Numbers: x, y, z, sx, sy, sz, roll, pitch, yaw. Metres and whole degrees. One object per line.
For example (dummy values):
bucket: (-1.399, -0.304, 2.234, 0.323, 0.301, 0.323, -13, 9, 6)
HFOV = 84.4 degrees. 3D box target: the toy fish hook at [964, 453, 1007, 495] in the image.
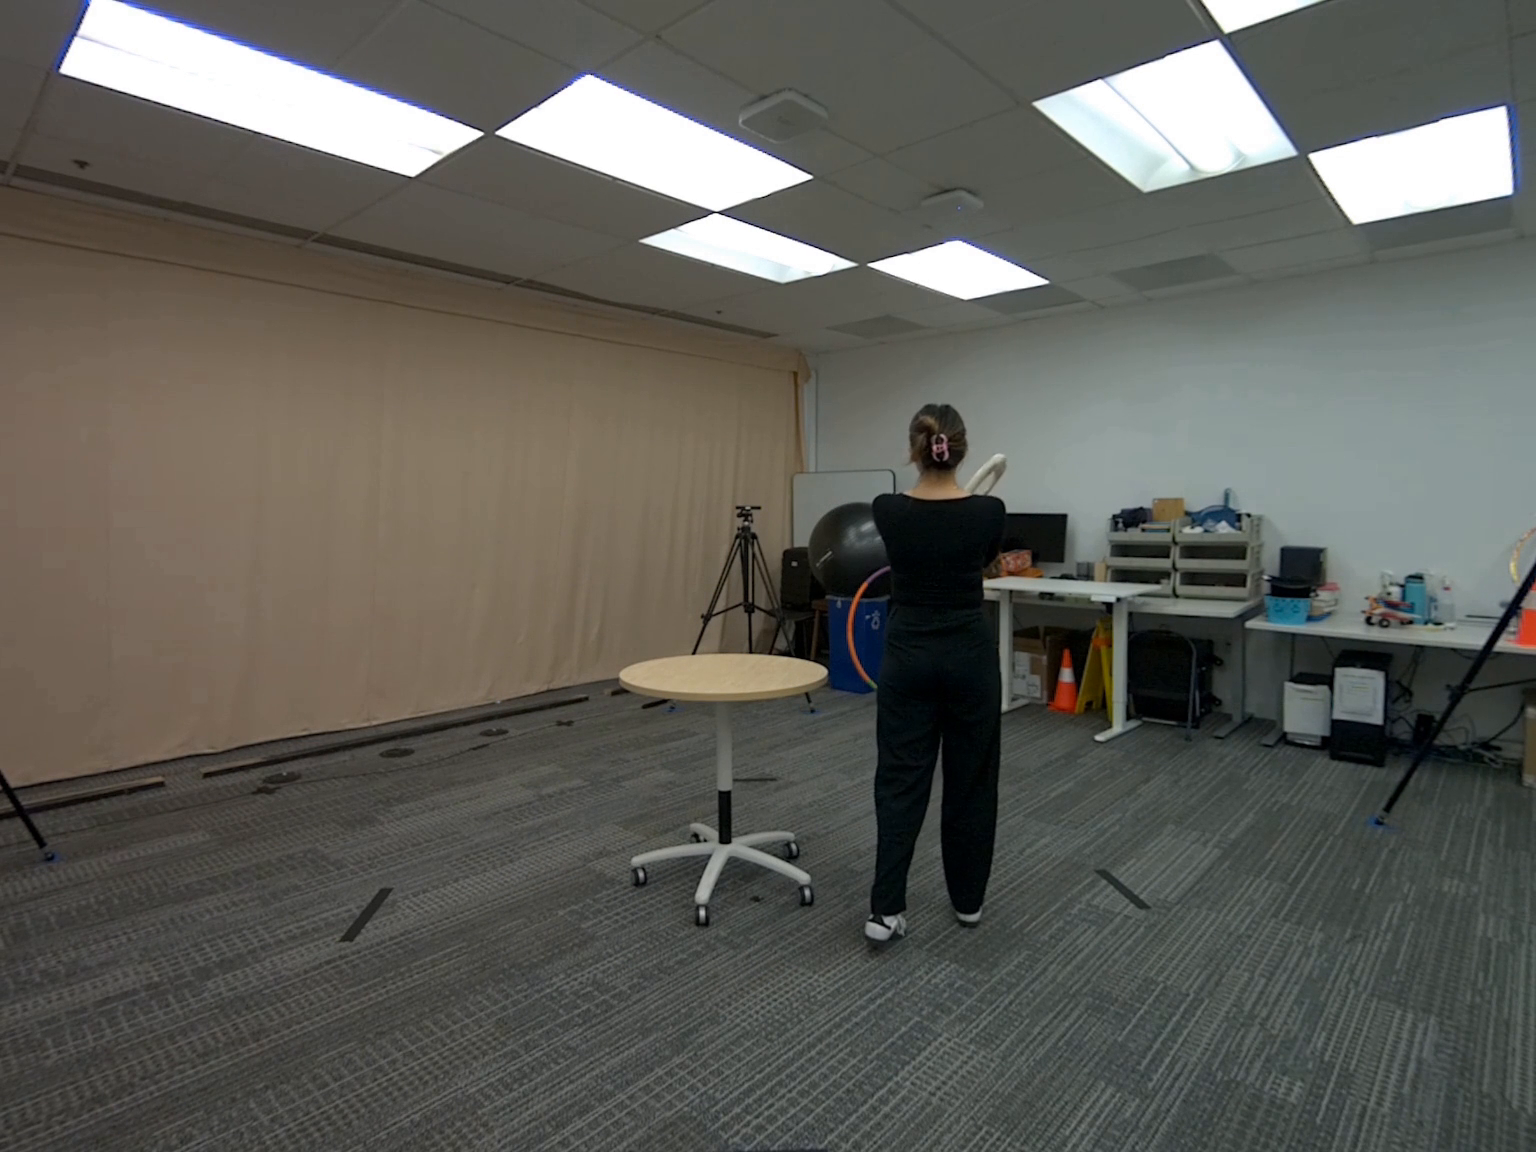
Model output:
toy fish hook: (0.753, -0.258, 3.249, 0.050, 0.507, 0.217, 43, 3, 32)
